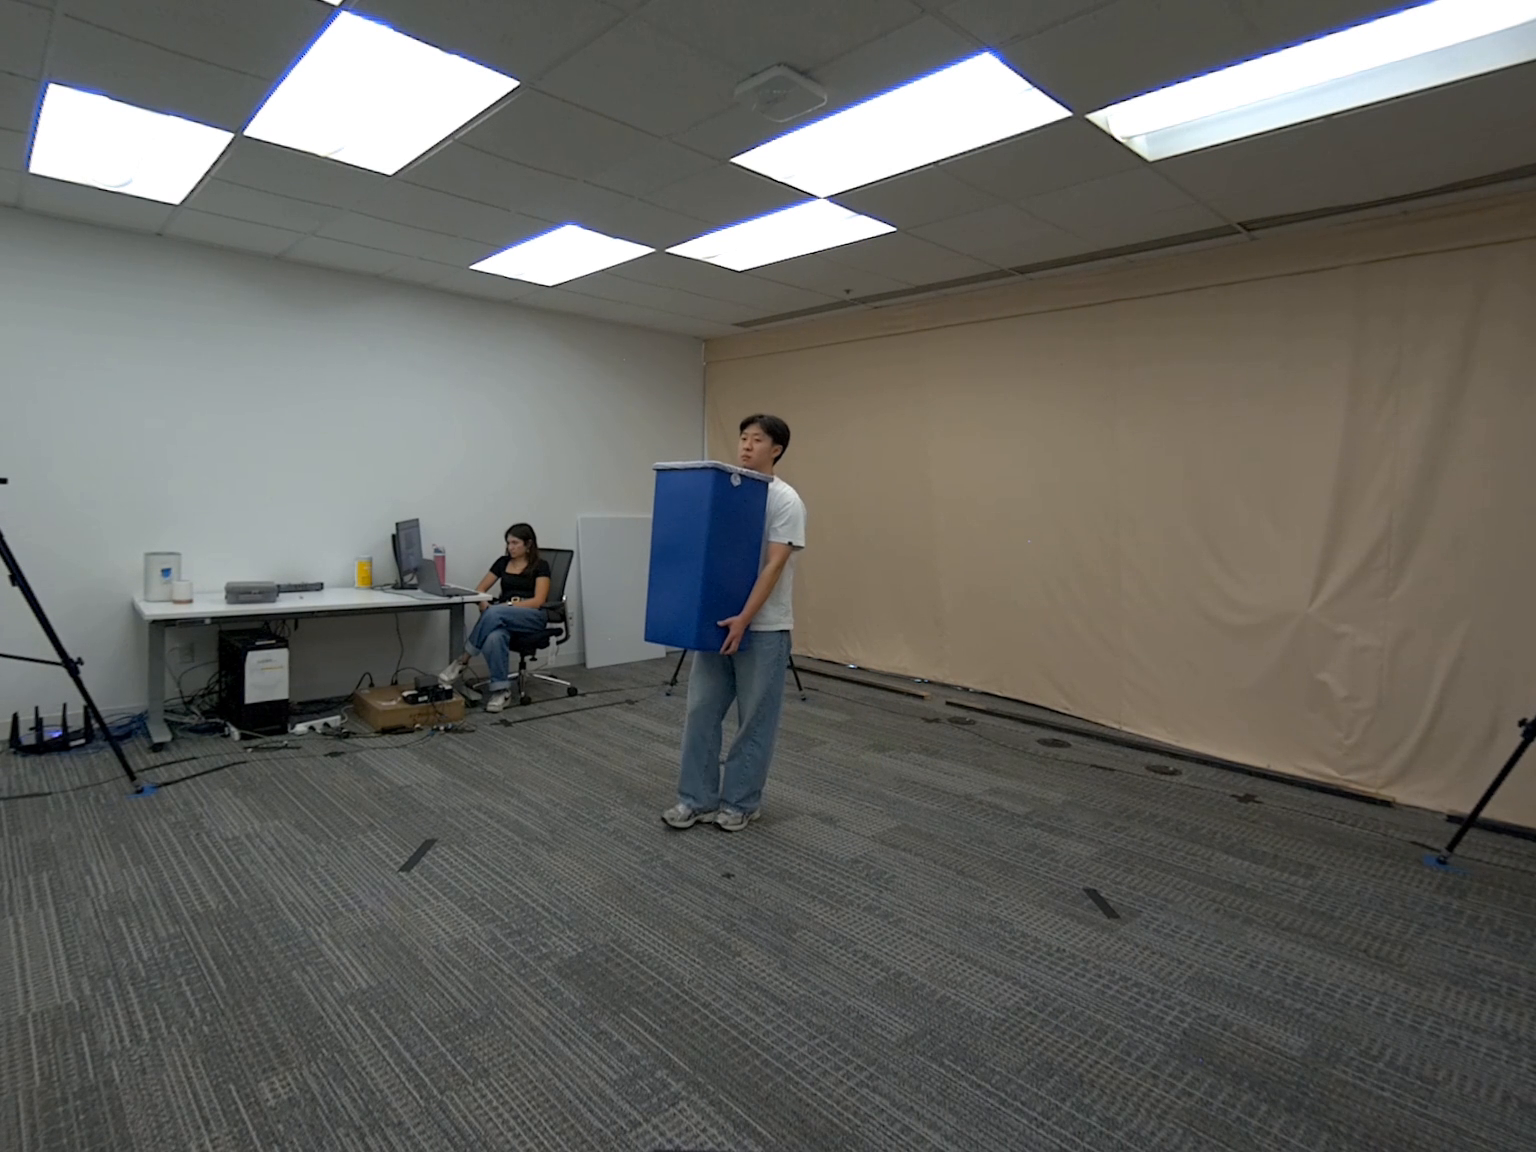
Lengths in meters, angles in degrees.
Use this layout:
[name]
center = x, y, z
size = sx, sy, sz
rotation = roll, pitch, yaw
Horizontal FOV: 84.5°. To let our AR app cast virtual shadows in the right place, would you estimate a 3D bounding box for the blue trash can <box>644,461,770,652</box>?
[blue trash can]
center = -0.279, -0.077, 3.377
size = 0.383, 0.715, 0.368
rotation = 4, -4, 39
